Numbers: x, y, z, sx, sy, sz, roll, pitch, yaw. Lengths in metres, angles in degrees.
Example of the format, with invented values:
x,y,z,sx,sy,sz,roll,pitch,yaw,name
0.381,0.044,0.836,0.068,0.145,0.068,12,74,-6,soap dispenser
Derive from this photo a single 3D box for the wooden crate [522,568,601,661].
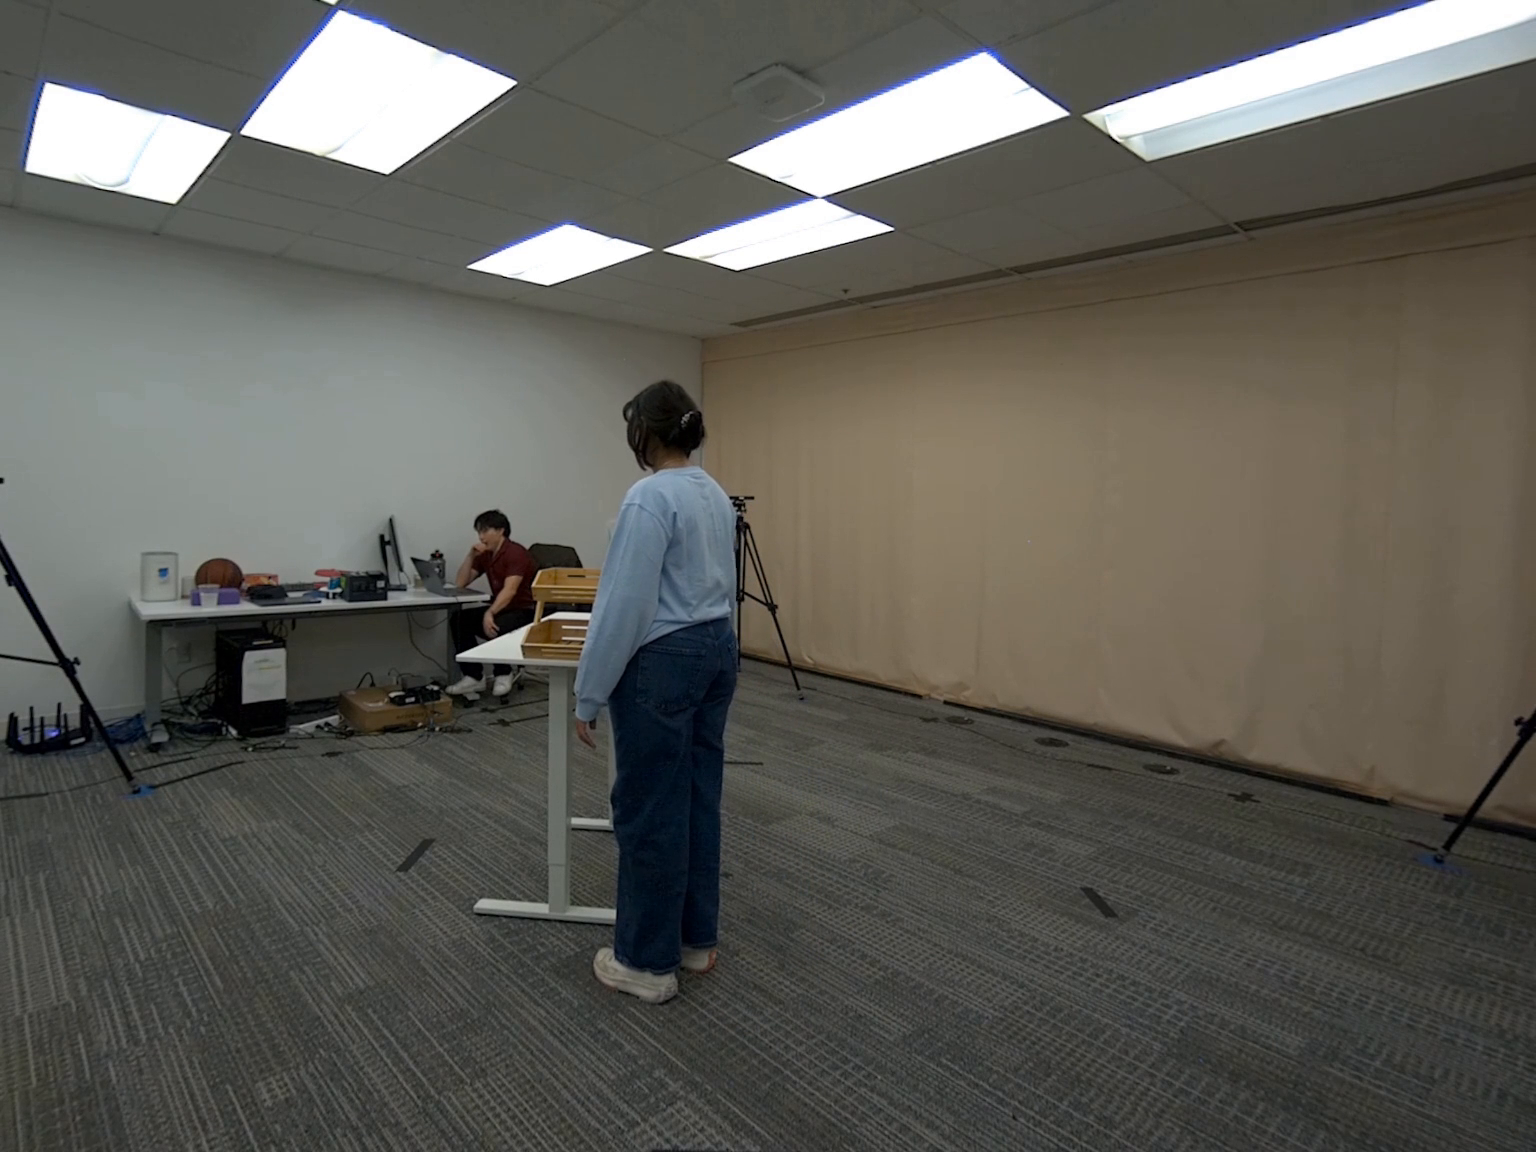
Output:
x,y,z,sx,sy,sz,roll,pitch,yaw,name
-0.613,0.119,2.706,0.326,0.273,0.301,1,3,7,wooden crate
